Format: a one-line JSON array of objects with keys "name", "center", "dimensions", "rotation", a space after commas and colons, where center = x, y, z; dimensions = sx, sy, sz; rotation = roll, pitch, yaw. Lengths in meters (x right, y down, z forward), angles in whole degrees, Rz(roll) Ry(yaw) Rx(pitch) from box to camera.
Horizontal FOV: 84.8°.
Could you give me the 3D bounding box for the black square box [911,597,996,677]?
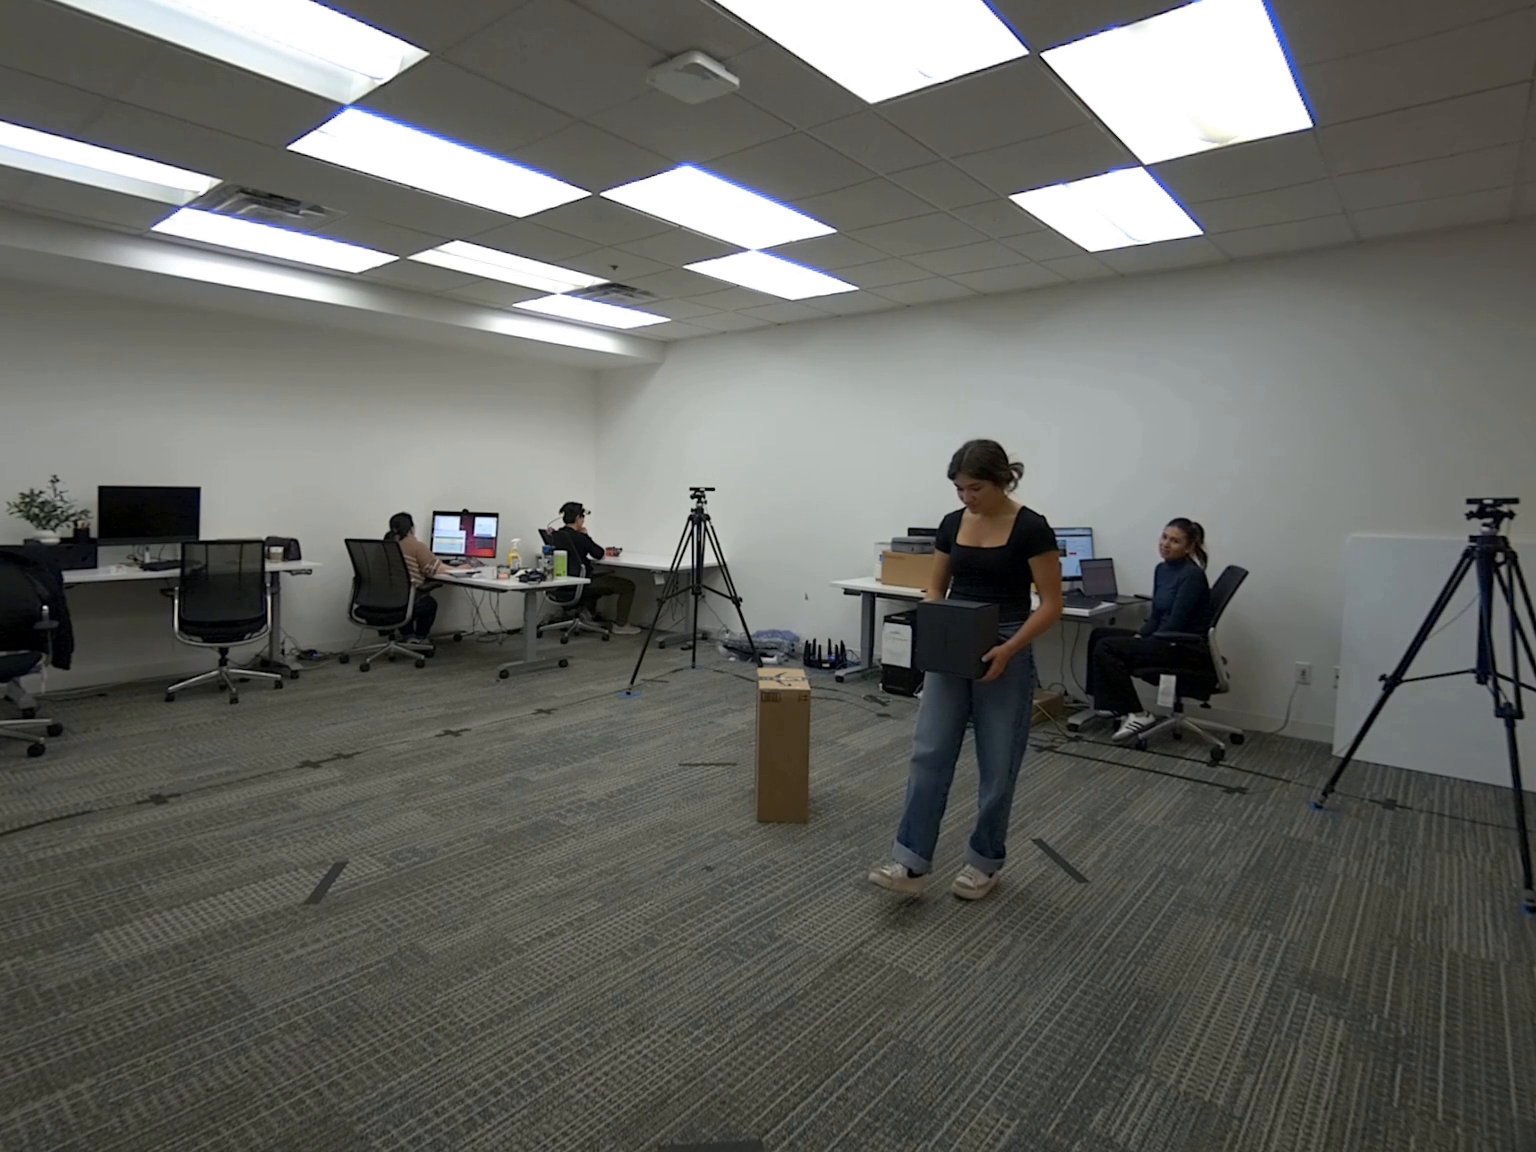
[{"name": "black square box", "center": [0.616, 0.192, 2.803], "dimensions": [0.151, 0.227, 0.224], "rotation": [-4, 4, -44]}]
